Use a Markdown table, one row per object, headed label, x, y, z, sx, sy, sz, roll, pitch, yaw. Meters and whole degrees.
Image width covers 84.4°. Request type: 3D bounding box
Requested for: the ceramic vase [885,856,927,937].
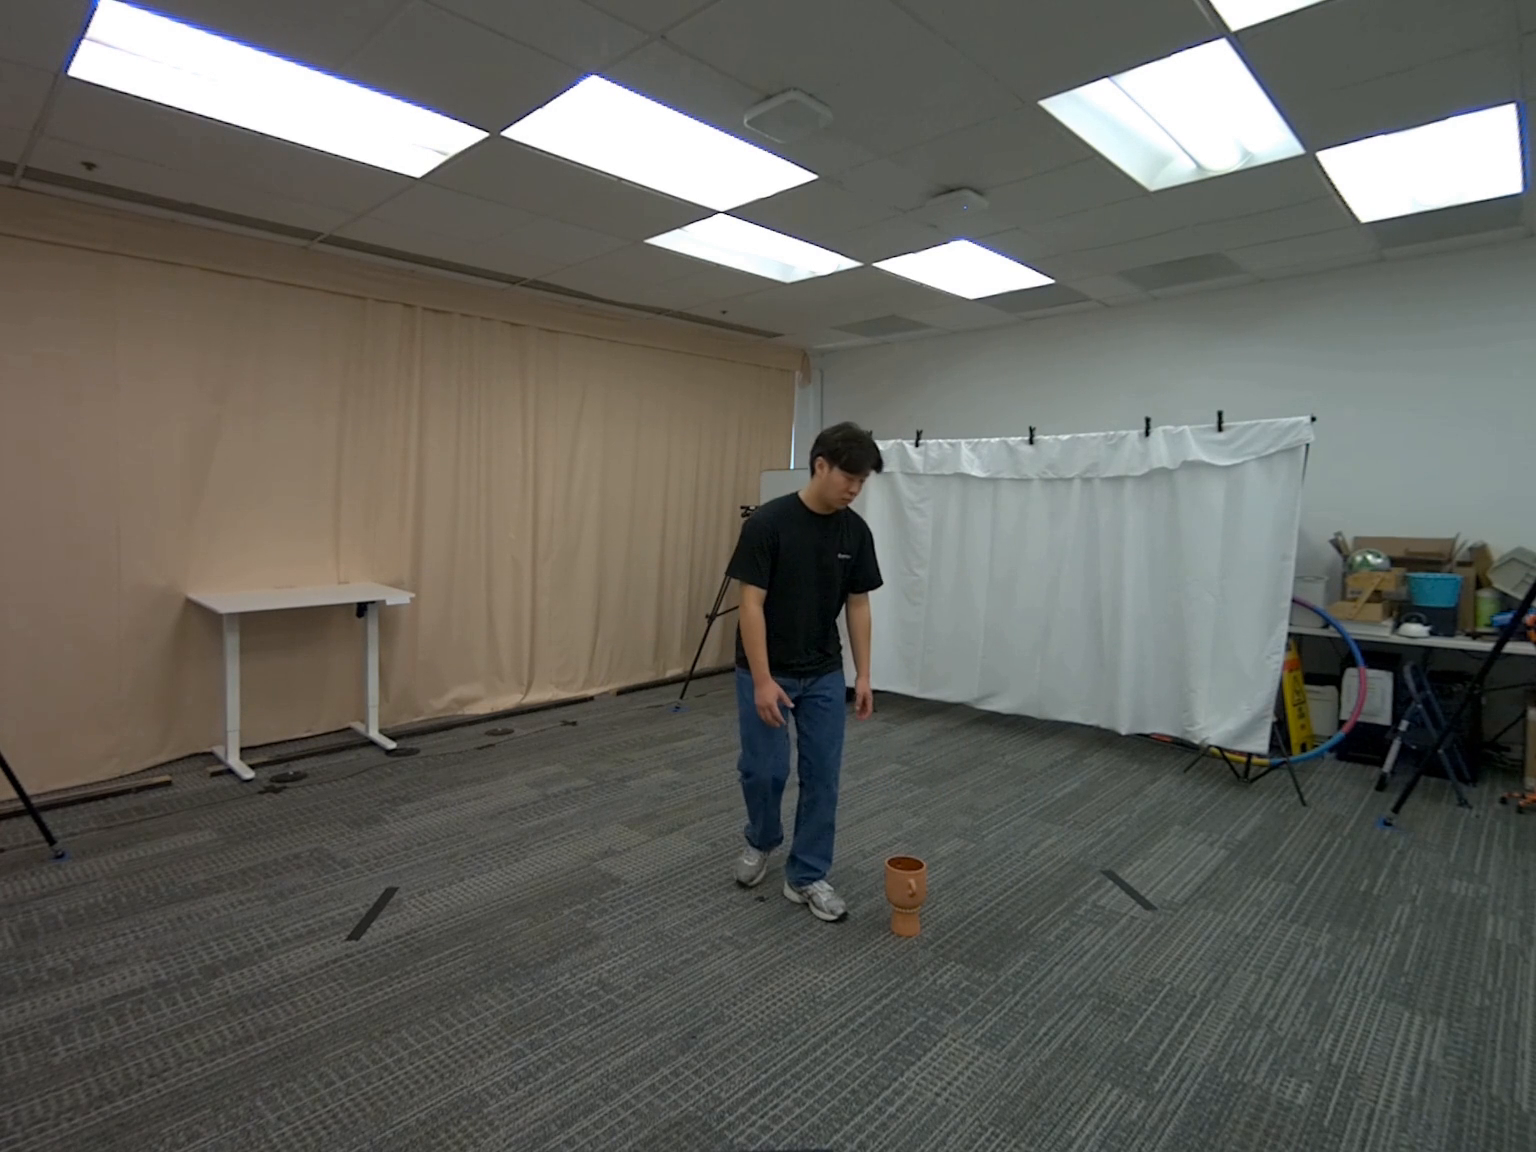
| label | x | y | z | sx | sy | sz | roll | pitch | yaw |
| --- | --- | --- | --- | --- | --- | --- | --- | --- | --- |
| ceramic vase | 0.455 | 1.050 | 2.757 | 0.139 | 0.219 | 0.154 | 2 | 4 | 33 |
